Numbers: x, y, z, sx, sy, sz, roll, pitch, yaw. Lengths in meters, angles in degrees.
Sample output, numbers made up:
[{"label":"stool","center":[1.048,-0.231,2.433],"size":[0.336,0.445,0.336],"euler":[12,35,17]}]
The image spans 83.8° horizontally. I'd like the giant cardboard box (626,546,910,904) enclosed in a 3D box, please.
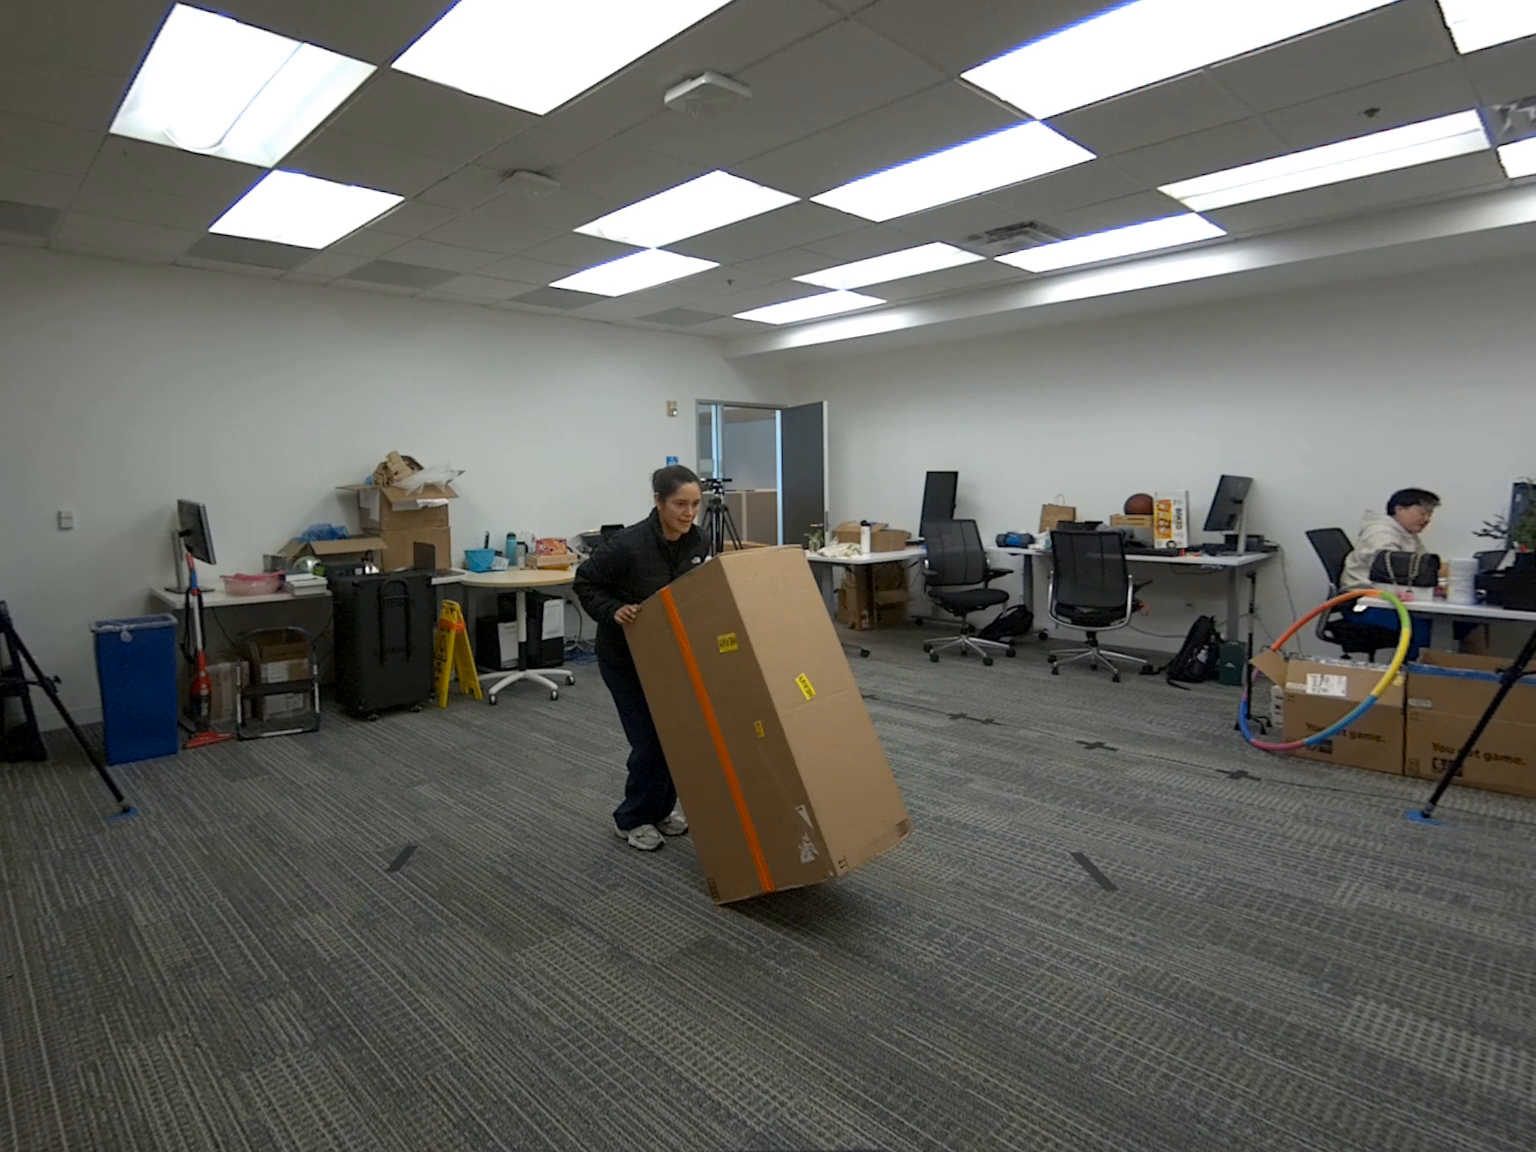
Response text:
[{"label":"giant cardboard box","center":[-0.033,0.486,2.917],"size":[0.435,1.044,0.589],"euler":[-7,-19,-46]}]
